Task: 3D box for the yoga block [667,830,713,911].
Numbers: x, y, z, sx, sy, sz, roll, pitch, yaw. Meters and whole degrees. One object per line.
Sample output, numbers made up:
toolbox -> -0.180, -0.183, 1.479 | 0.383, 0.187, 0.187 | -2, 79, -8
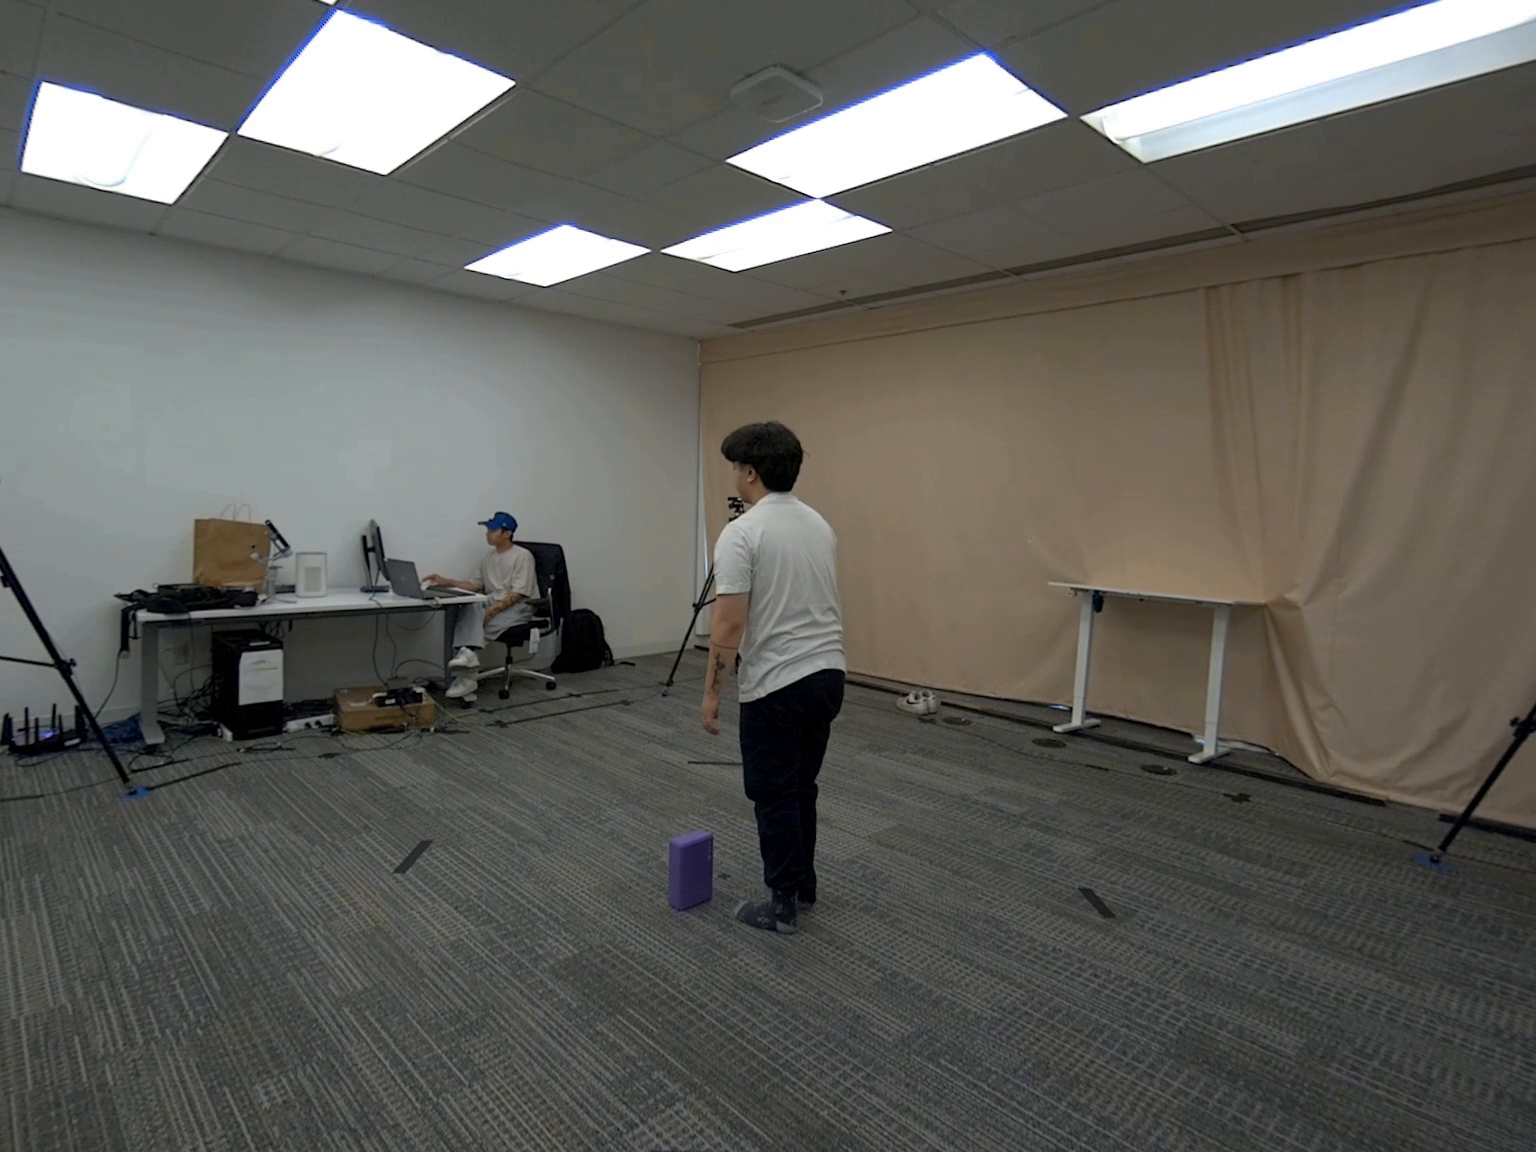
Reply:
yoga block -> -0.267, 1.002, 2.894 | 0.146, 0.229, 0.078 | -4, 6, -45
